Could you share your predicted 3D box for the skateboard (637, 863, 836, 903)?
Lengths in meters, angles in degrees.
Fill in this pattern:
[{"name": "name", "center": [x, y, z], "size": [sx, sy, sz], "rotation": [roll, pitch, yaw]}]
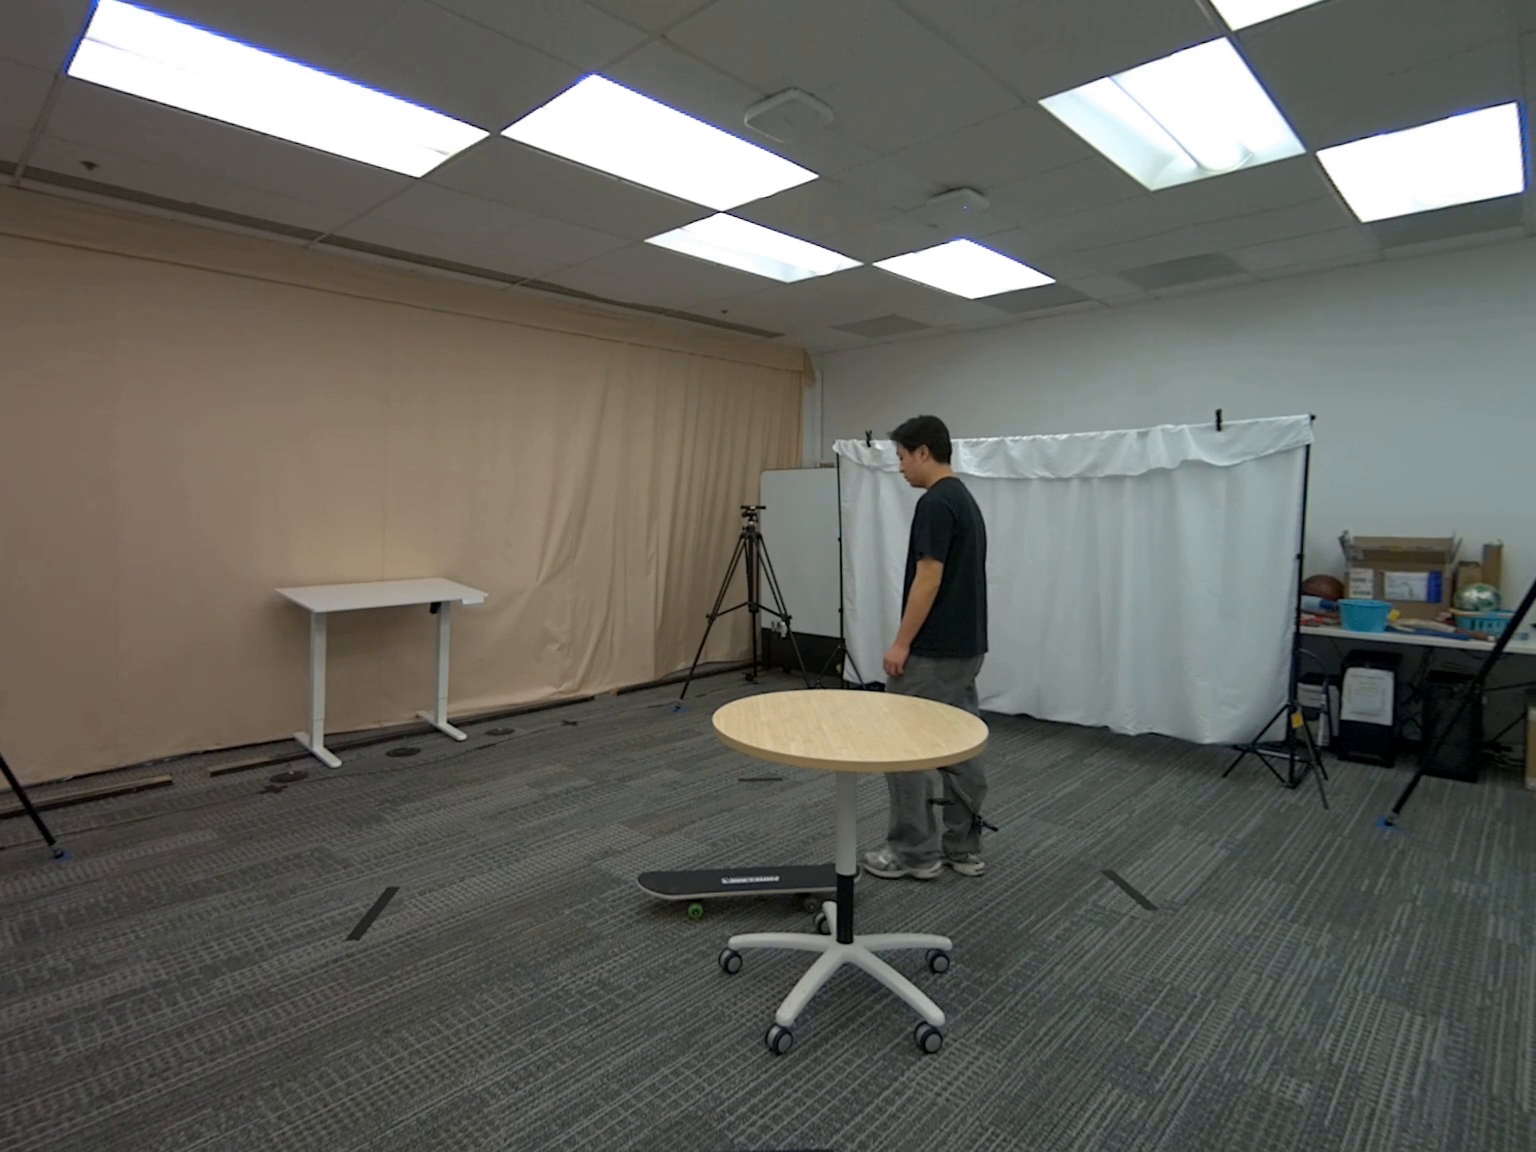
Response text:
[{"name": "skateboard", "center": [-0.062, 1.090, 2.937], "size": [0.780, 0.110, 0.195], "rotation": [0, 5, -6]}]
